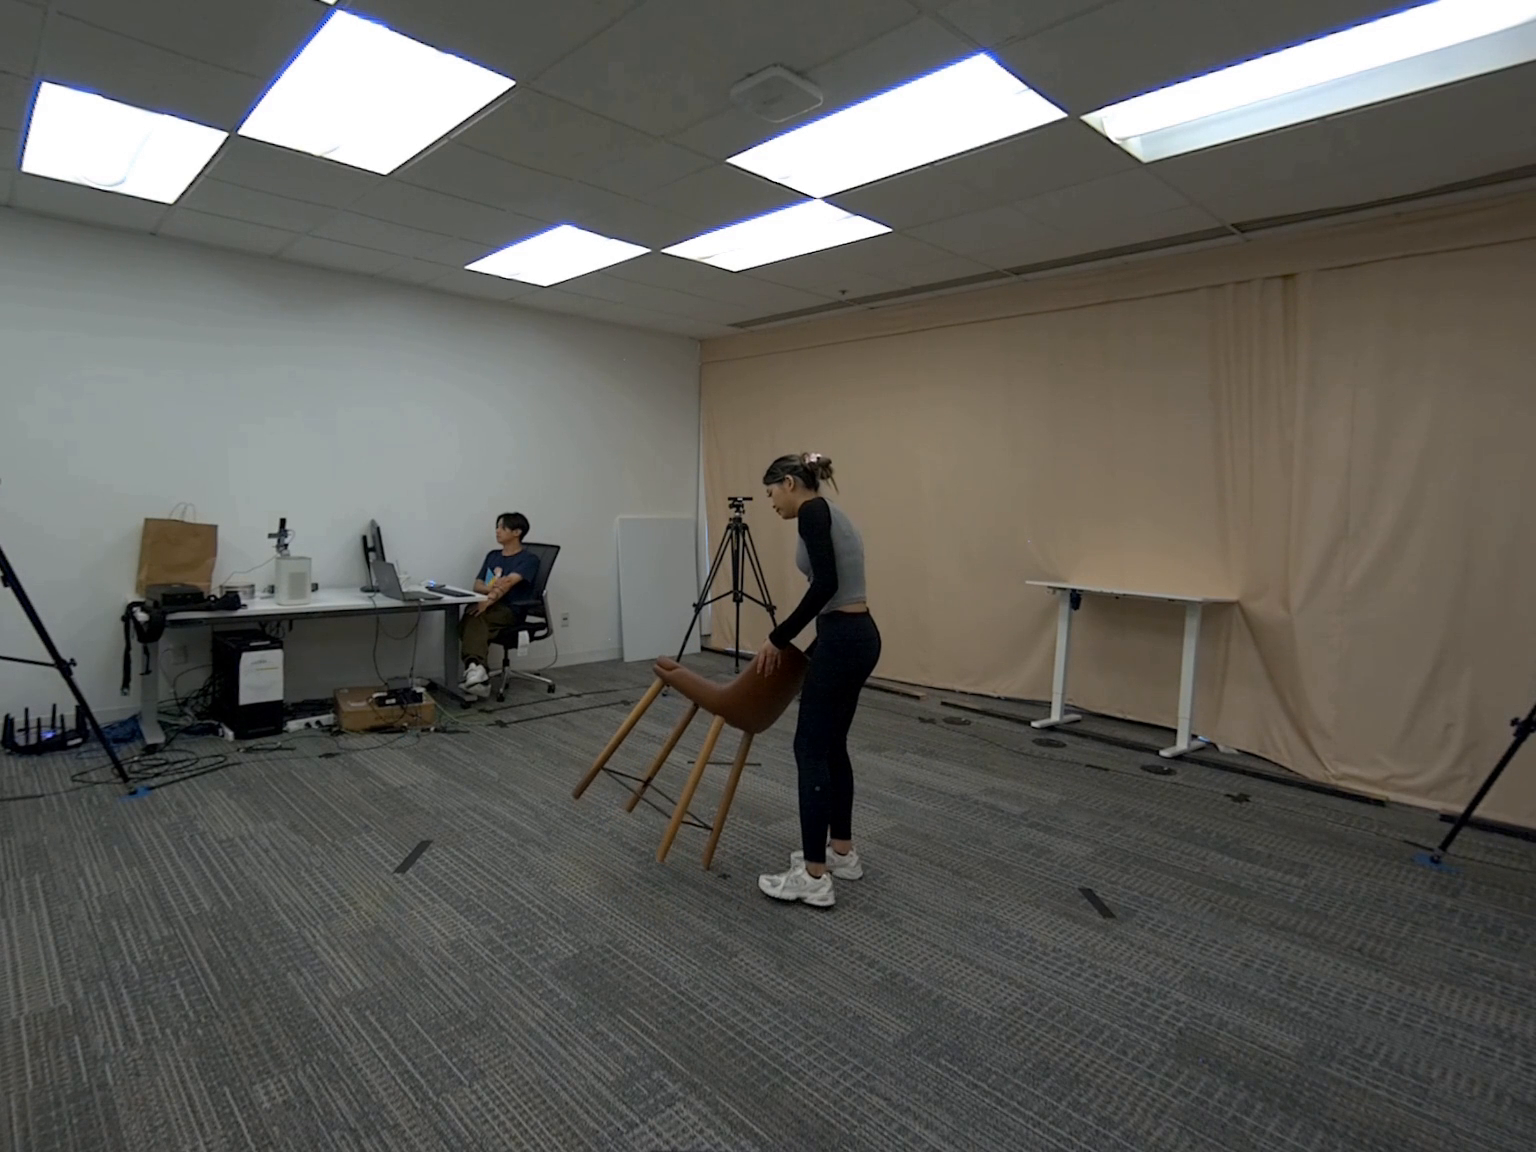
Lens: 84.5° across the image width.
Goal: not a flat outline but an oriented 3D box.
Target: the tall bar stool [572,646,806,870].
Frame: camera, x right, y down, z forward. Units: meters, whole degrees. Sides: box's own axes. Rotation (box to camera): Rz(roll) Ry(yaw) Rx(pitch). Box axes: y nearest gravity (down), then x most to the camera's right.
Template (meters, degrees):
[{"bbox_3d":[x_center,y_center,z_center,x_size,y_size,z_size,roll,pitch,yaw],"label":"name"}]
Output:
[{"bbox_3d":[-0.266,0.588,3.192,0.481,0.891,0.443,25,-9,32],"label":"tall bar stool"}]
